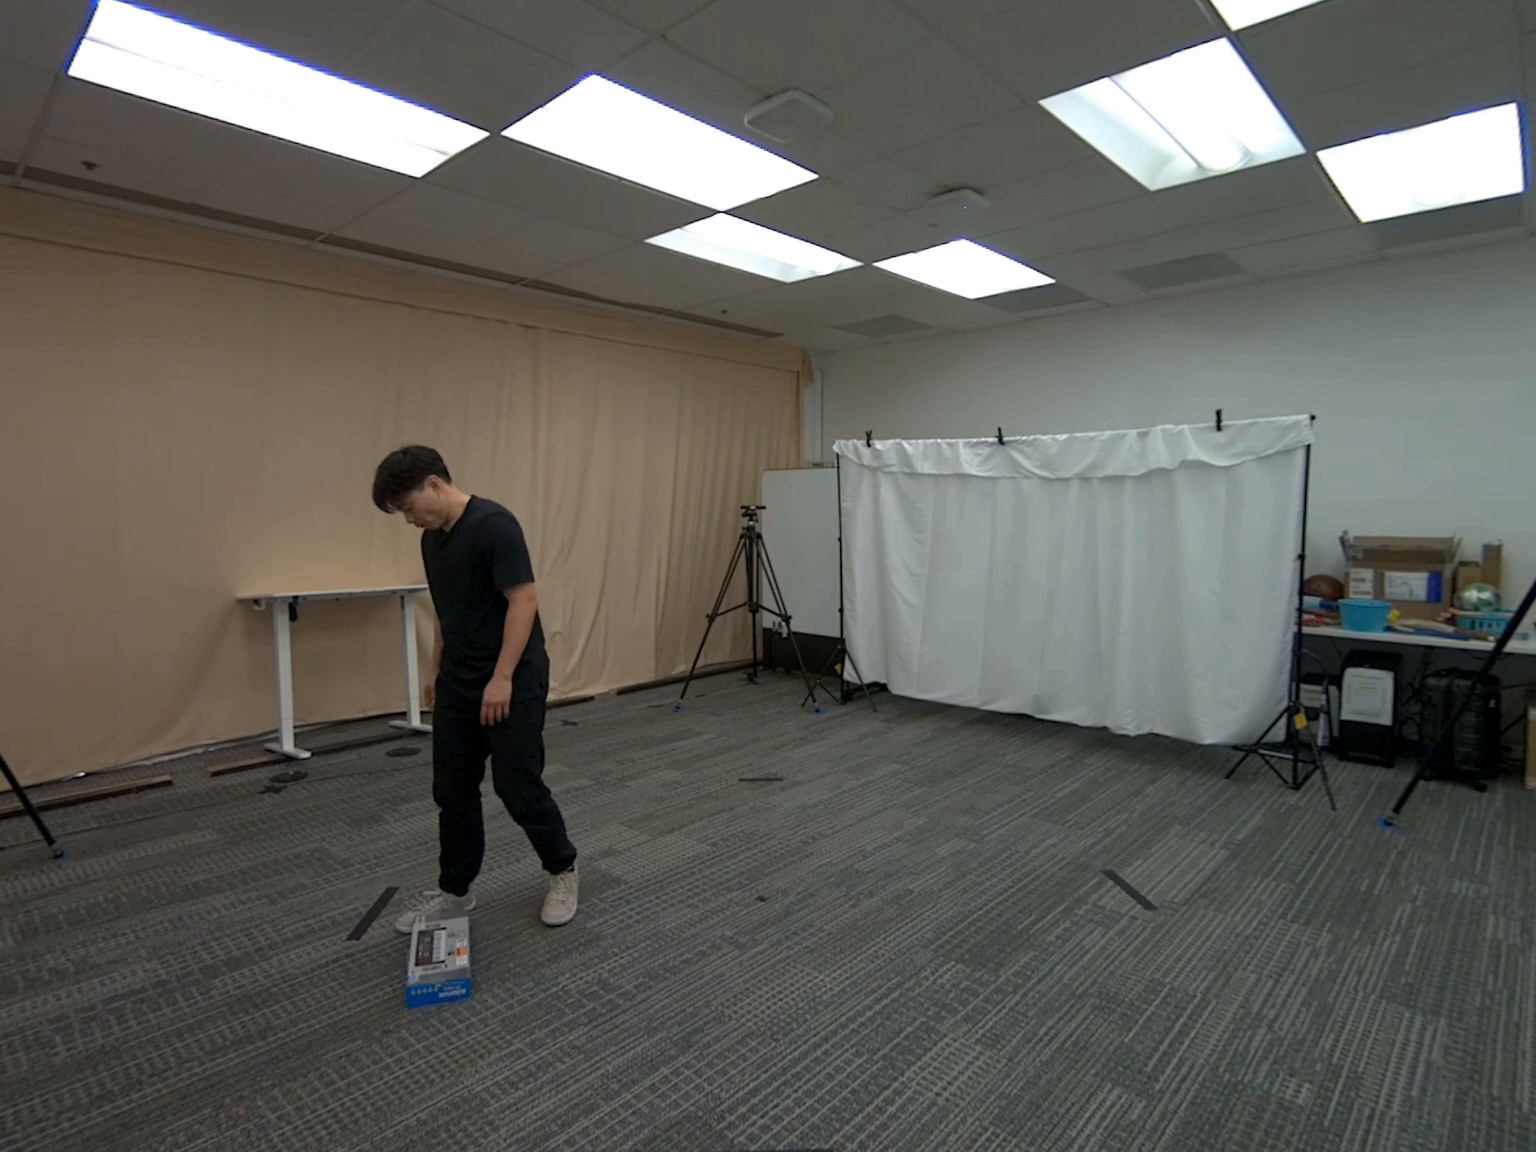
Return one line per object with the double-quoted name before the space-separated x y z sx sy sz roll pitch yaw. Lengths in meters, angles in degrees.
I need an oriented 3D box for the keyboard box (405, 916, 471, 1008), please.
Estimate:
"keyboard box" -1.000 1.156 2.573 0.172 0.059 0.446 -2 4 -20
